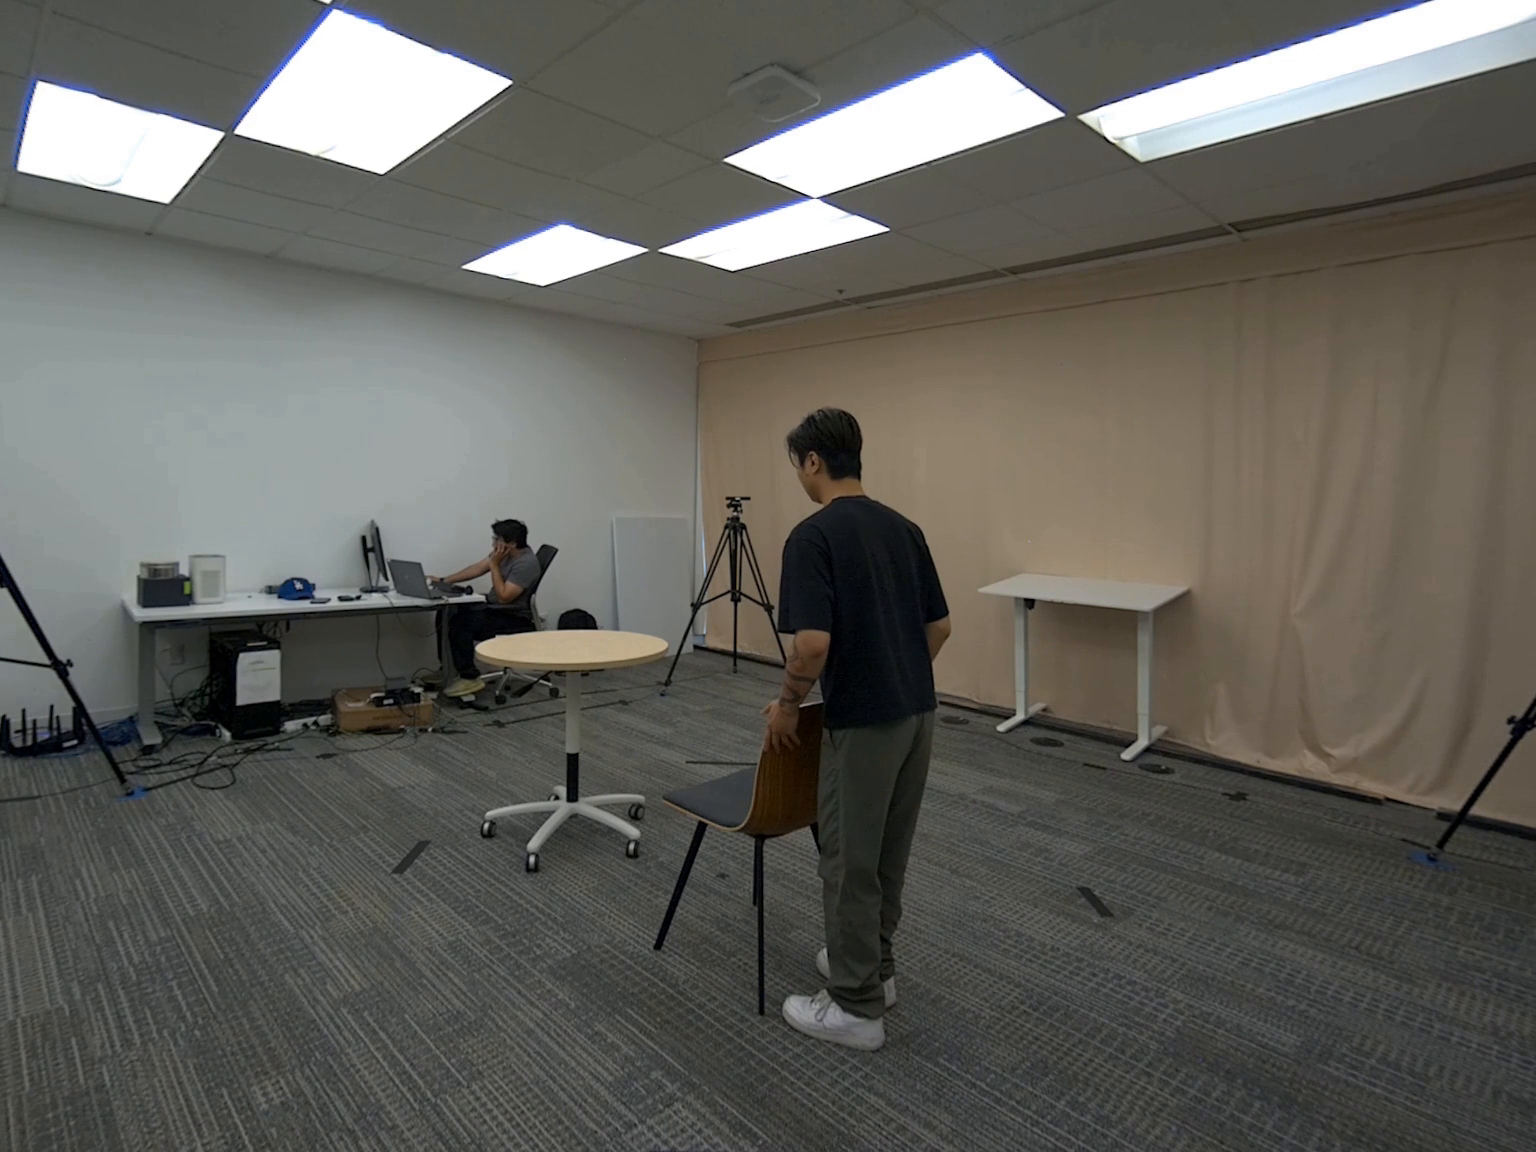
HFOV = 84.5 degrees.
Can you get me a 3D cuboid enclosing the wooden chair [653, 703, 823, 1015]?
[{"bbox_3d":[-0.031,0.730,2.557,0.538,0.873,0.467,11,10,43],"label":"wooden chair"}]
